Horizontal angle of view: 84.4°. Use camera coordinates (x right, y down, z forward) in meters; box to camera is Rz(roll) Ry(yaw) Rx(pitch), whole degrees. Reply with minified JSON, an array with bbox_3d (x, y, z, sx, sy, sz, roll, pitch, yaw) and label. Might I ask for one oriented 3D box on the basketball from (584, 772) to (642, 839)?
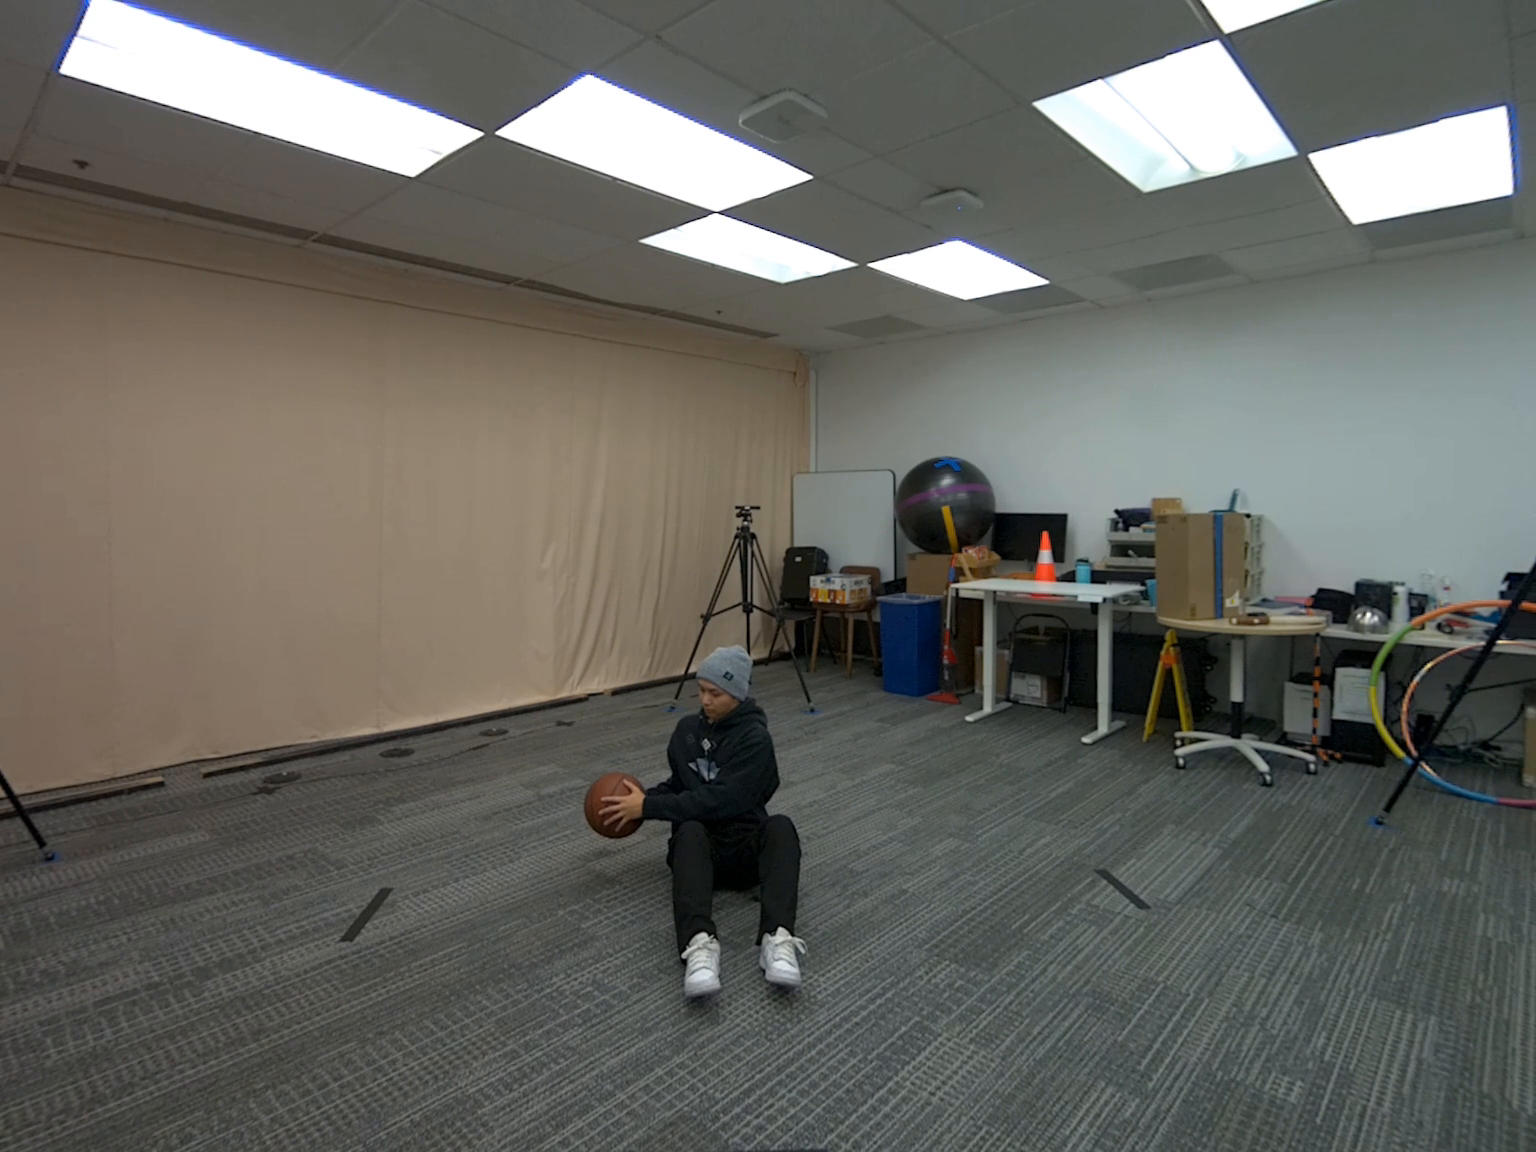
[{"bbox_3d":[-0.563,0.855,3.134,0.236,0.235,0.237,0,4,-2],"label":"basketball"}]
